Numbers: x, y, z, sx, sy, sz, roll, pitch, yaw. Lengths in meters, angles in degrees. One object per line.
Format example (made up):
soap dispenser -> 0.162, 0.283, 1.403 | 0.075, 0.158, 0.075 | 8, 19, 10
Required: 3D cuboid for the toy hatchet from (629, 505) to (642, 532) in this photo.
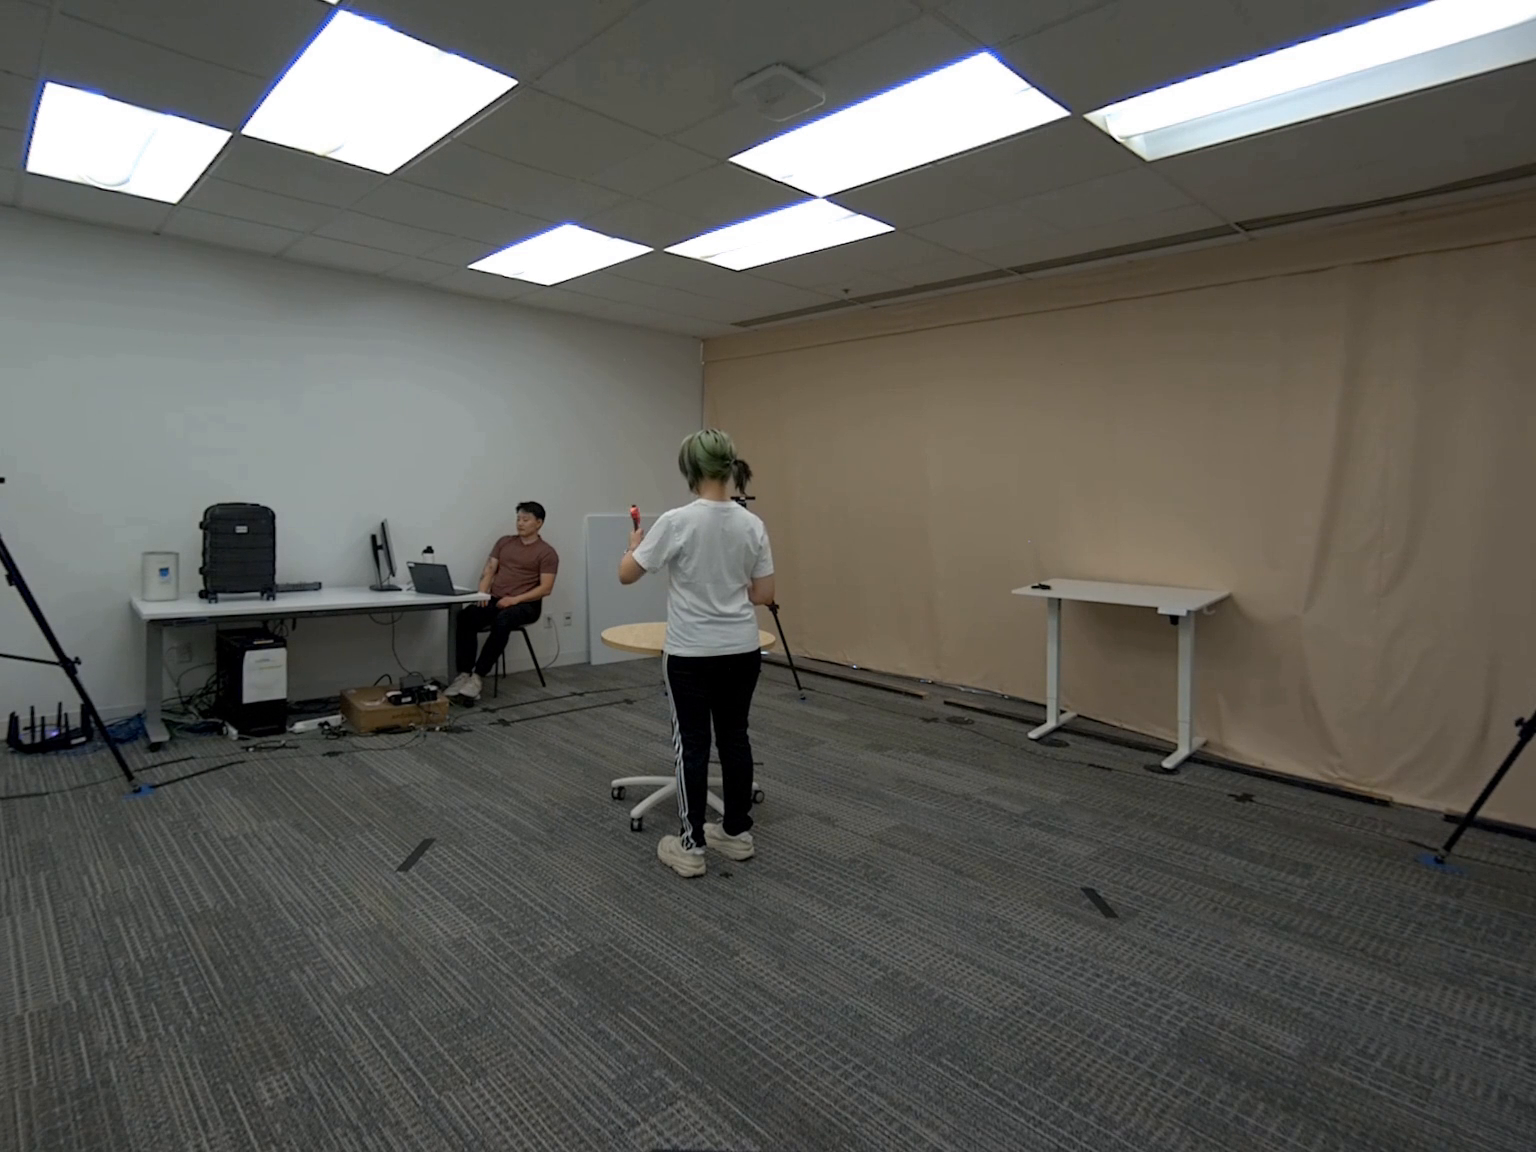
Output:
toy hatchet -> -0.535, -0.164, 3.430 | 0.029, 0.266, 0.133 | -4, 21, 1
